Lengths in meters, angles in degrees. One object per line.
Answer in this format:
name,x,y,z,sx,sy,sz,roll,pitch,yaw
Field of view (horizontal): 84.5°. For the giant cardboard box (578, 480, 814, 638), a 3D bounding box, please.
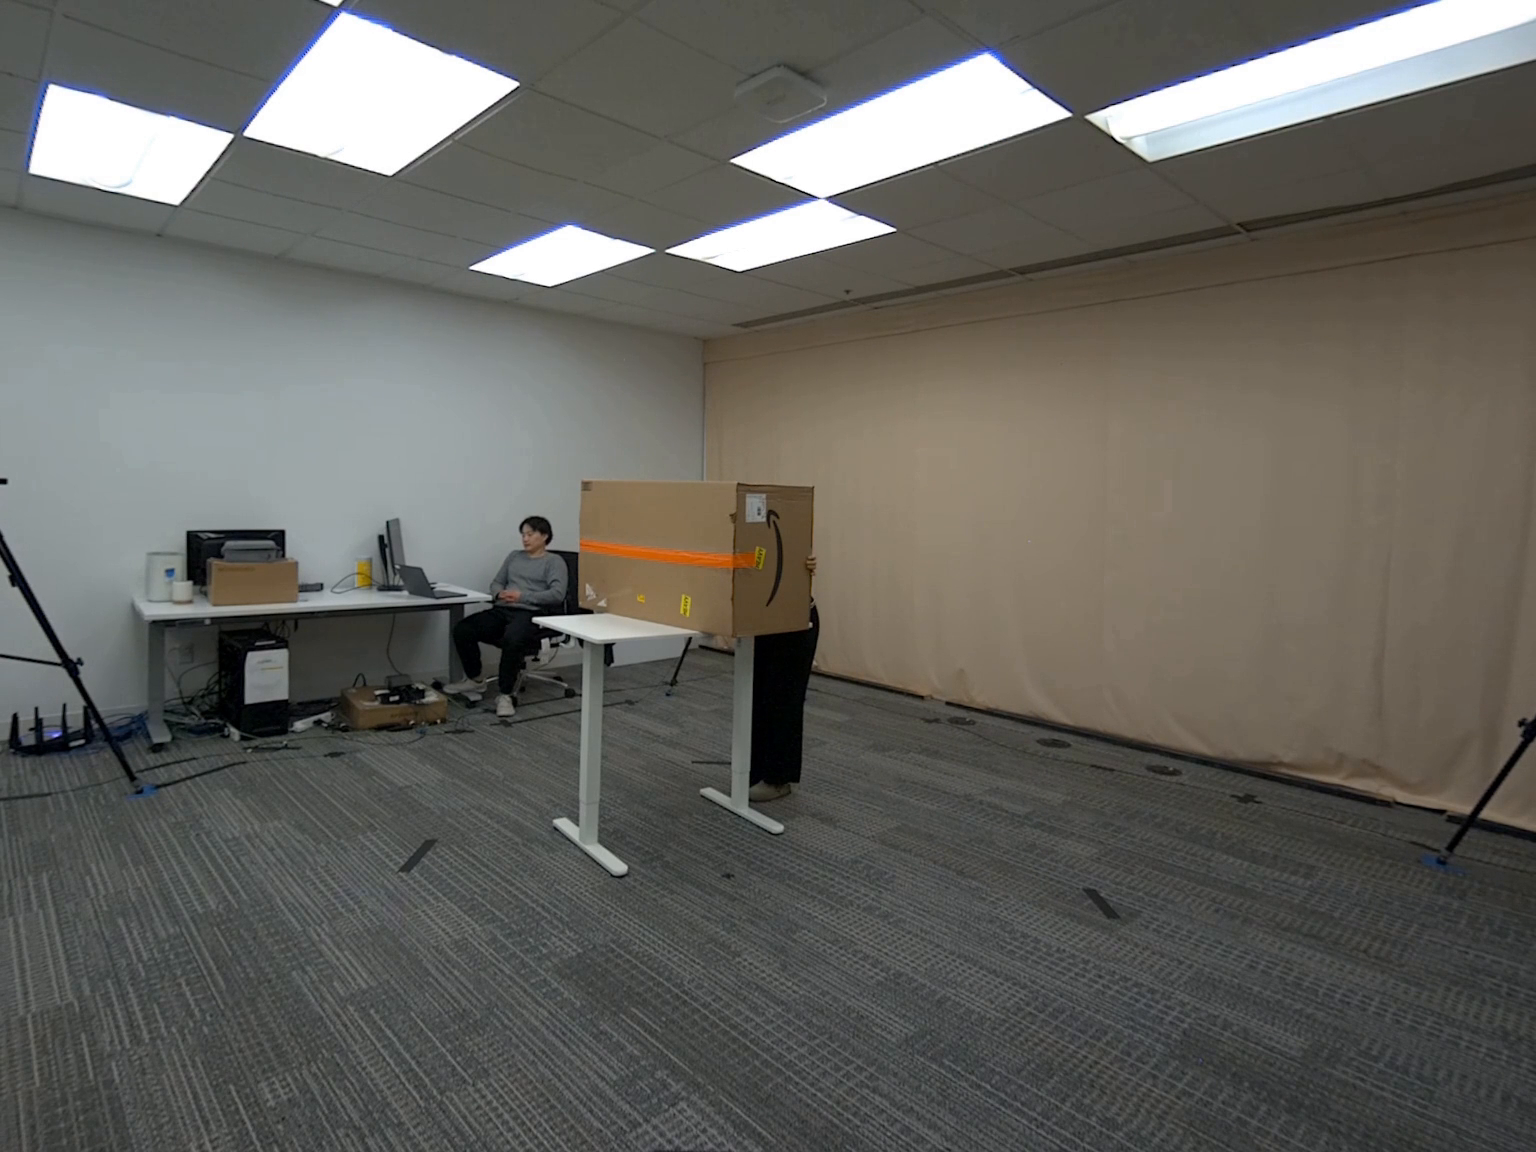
giant cardboard box,-0.344,-0.108,3.563,0.416,0.576,1.052,-2,6,-45
